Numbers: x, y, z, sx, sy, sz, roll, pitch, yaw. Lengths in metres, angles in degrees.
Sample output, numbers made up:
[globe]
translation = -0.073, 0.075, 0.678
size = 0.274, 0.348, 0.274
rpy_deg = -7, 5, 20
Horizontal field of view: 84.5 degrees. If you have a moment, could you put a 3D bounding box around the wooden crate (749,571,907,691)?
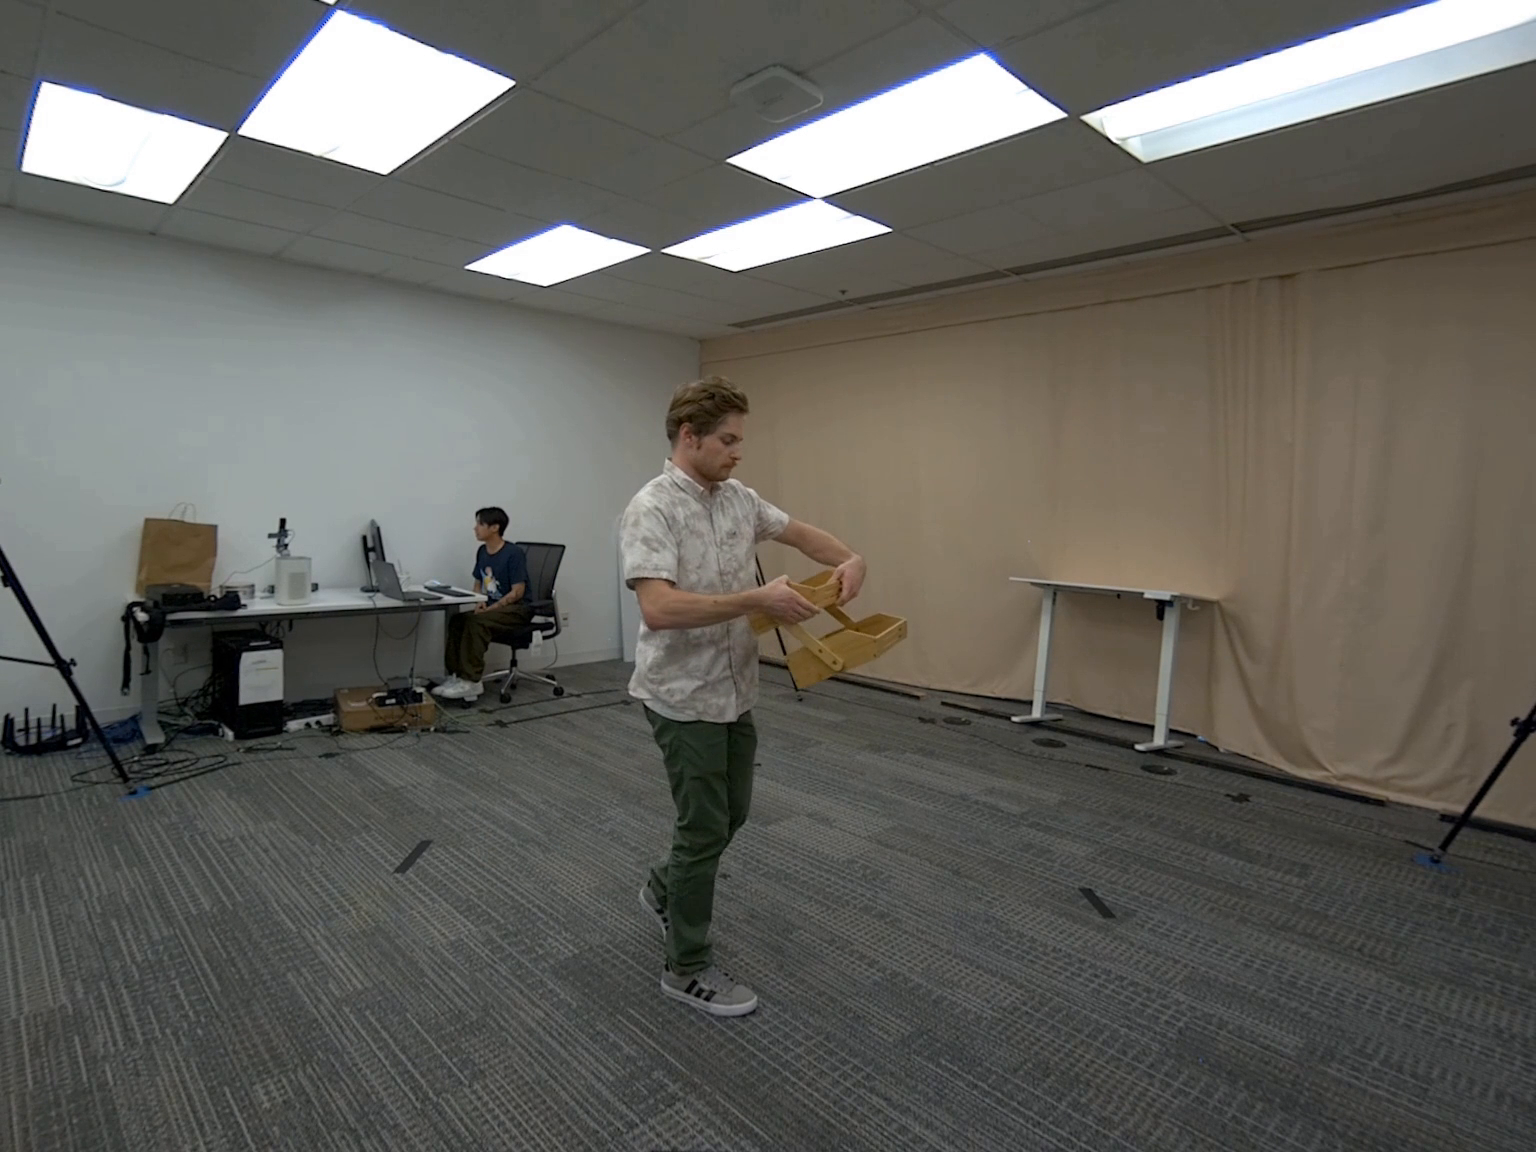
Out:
[wooden crate]
translation = 0.161, 0.115, 2.255
size = 0.304, 0.275, 0.320
rpy_deg = -27, -6, 24
